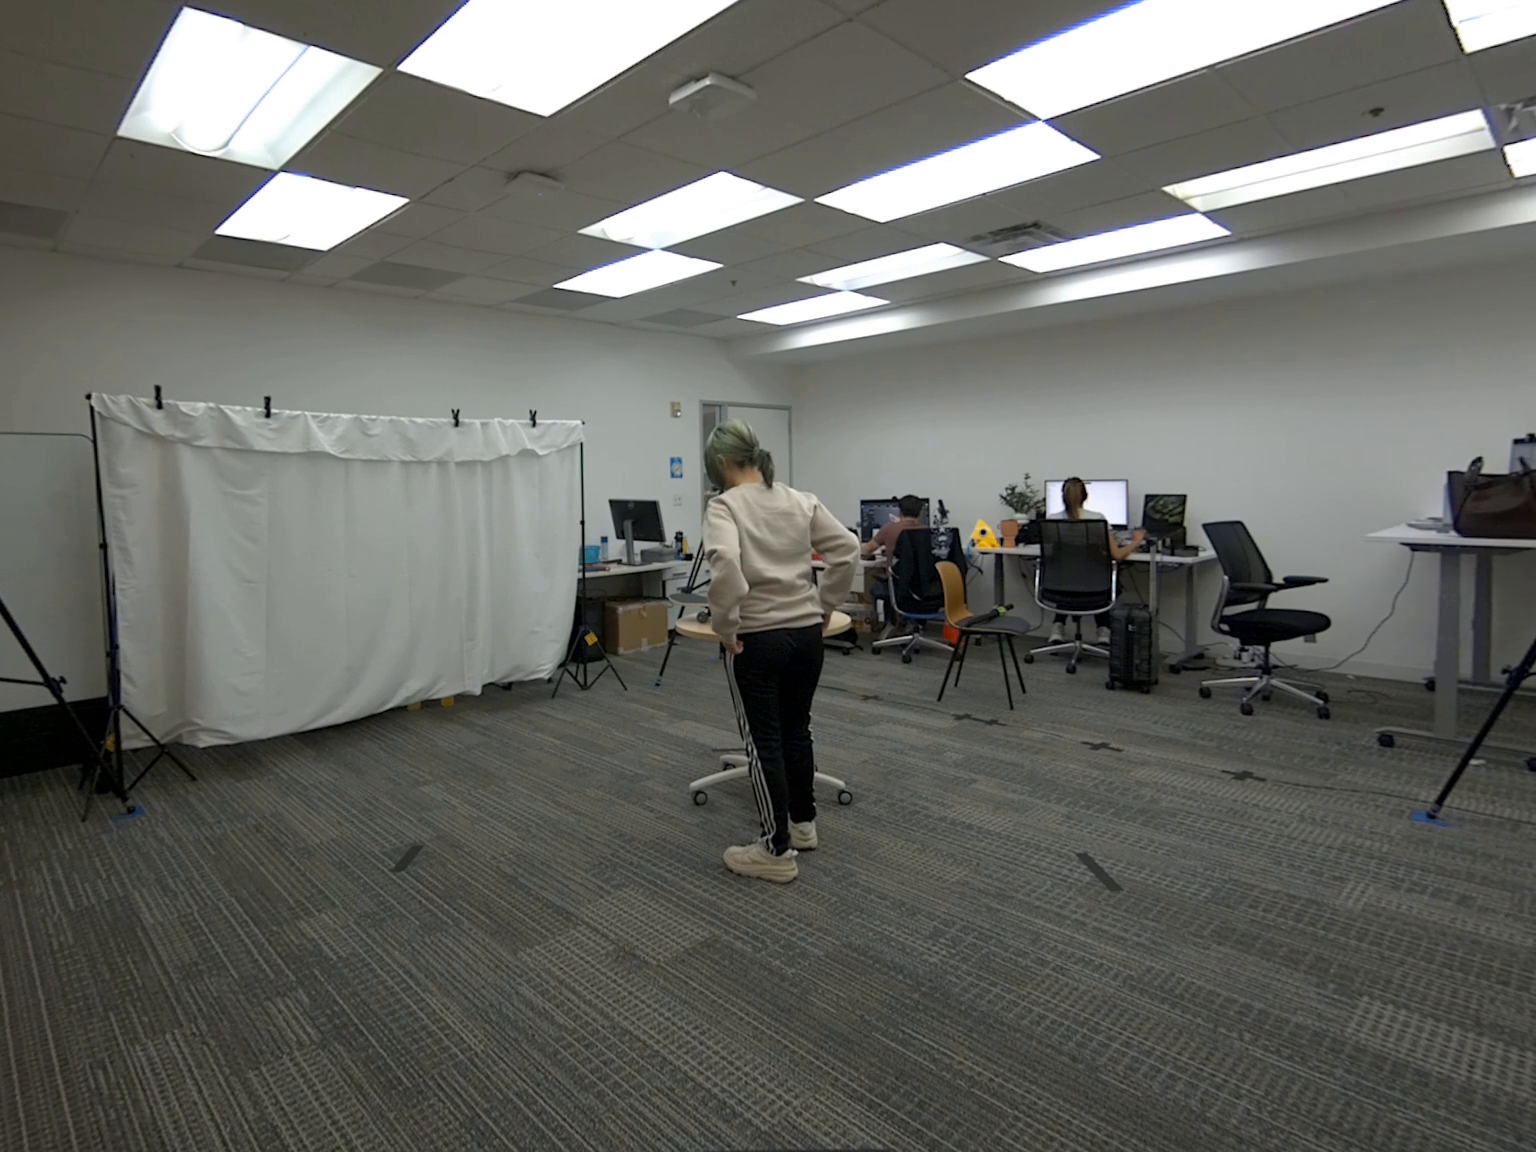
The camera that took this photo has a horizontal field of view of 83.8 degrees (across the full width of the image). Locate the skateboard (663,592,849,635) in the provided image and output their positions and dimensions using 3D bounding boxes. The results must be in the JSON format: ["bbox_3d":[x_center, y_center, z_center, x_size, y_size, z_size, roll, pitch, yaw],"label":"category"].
[{"bbox_3d":[-0.065,0.152,3.677,0.805,0.110,0.190,2,9,27],"label":"skateboard"}]
